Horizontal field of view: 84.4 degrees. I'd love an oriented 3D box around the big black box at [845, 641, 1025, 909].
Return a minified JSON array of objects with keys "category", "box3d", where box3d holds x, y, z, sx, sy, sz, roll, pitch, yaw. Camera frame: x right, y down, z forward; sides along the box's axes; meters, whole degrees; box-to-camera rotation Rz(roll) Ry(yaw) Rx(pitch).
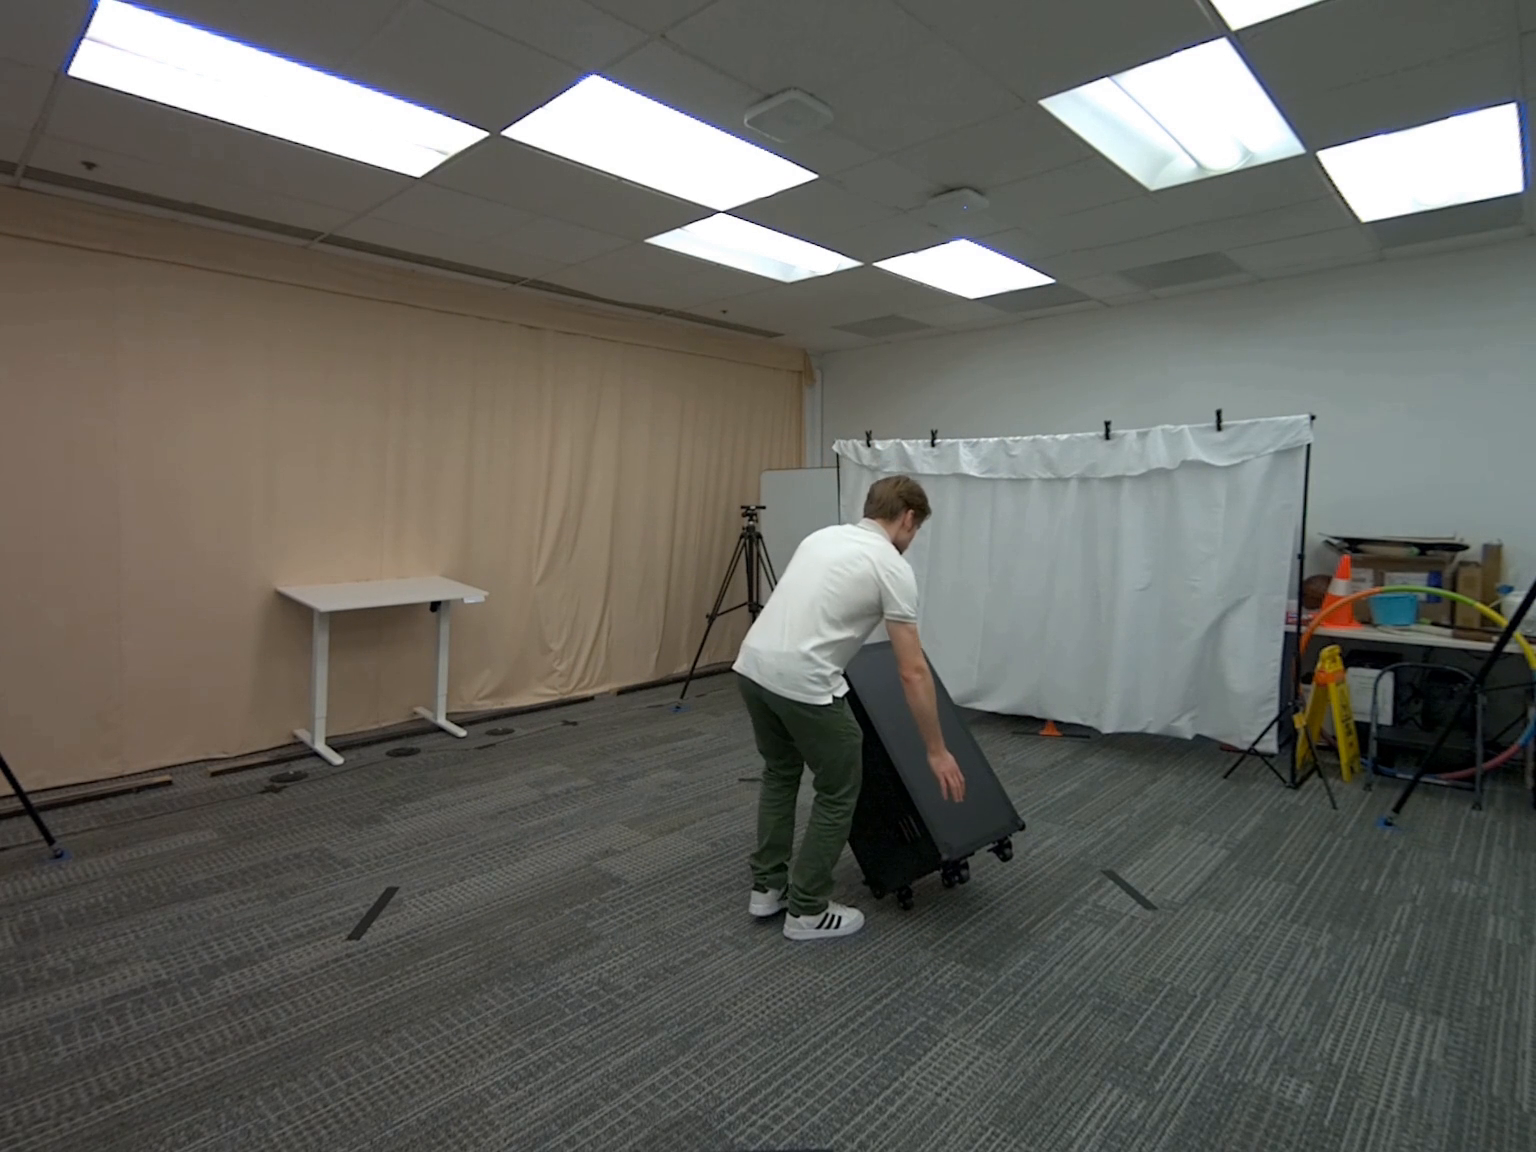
[{"category":"big black box","box3d":[0.484,0.700,3.057,0.507,0.889,0.388,-2,-34,-43]}]
